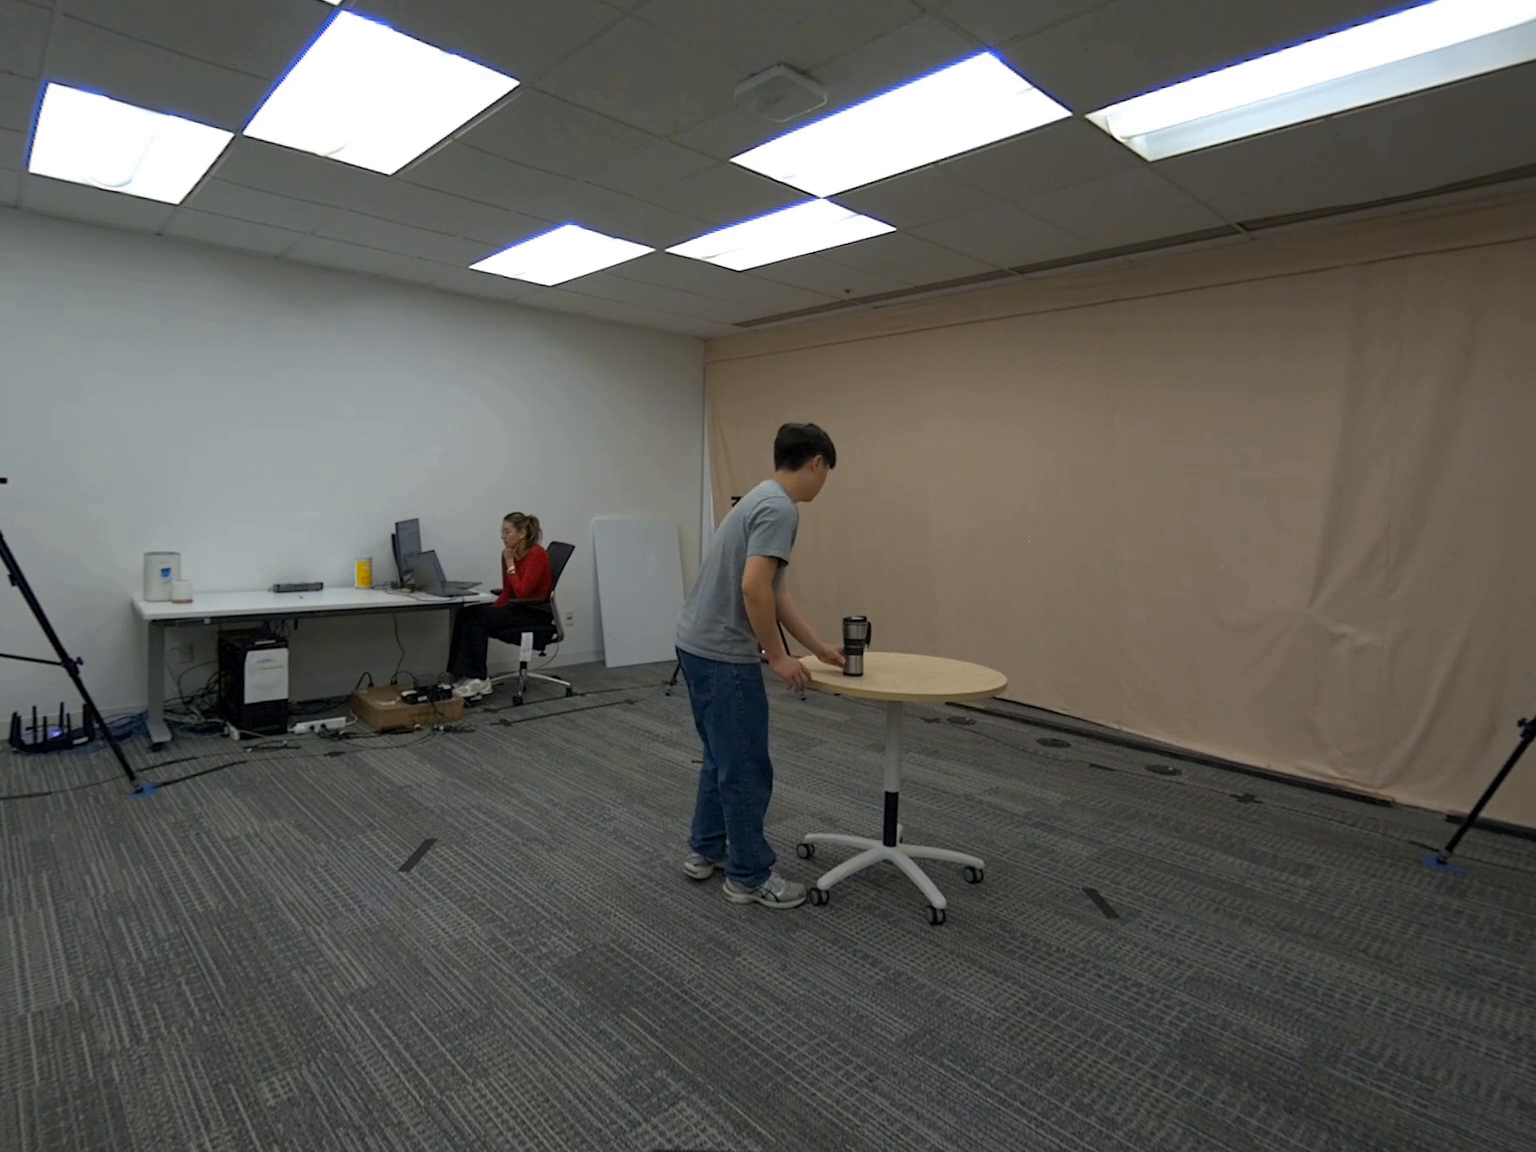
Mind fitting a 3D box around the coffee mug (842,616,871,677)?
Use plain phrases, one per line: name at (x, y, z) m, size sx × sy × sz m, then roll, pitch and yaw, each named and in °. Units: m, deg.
coffee mug at (0.316, 0.246, 2.938) m, size 0.120 × 0.203 × 0.089 m, roll -1°, pitch 0°, yaw -23°
